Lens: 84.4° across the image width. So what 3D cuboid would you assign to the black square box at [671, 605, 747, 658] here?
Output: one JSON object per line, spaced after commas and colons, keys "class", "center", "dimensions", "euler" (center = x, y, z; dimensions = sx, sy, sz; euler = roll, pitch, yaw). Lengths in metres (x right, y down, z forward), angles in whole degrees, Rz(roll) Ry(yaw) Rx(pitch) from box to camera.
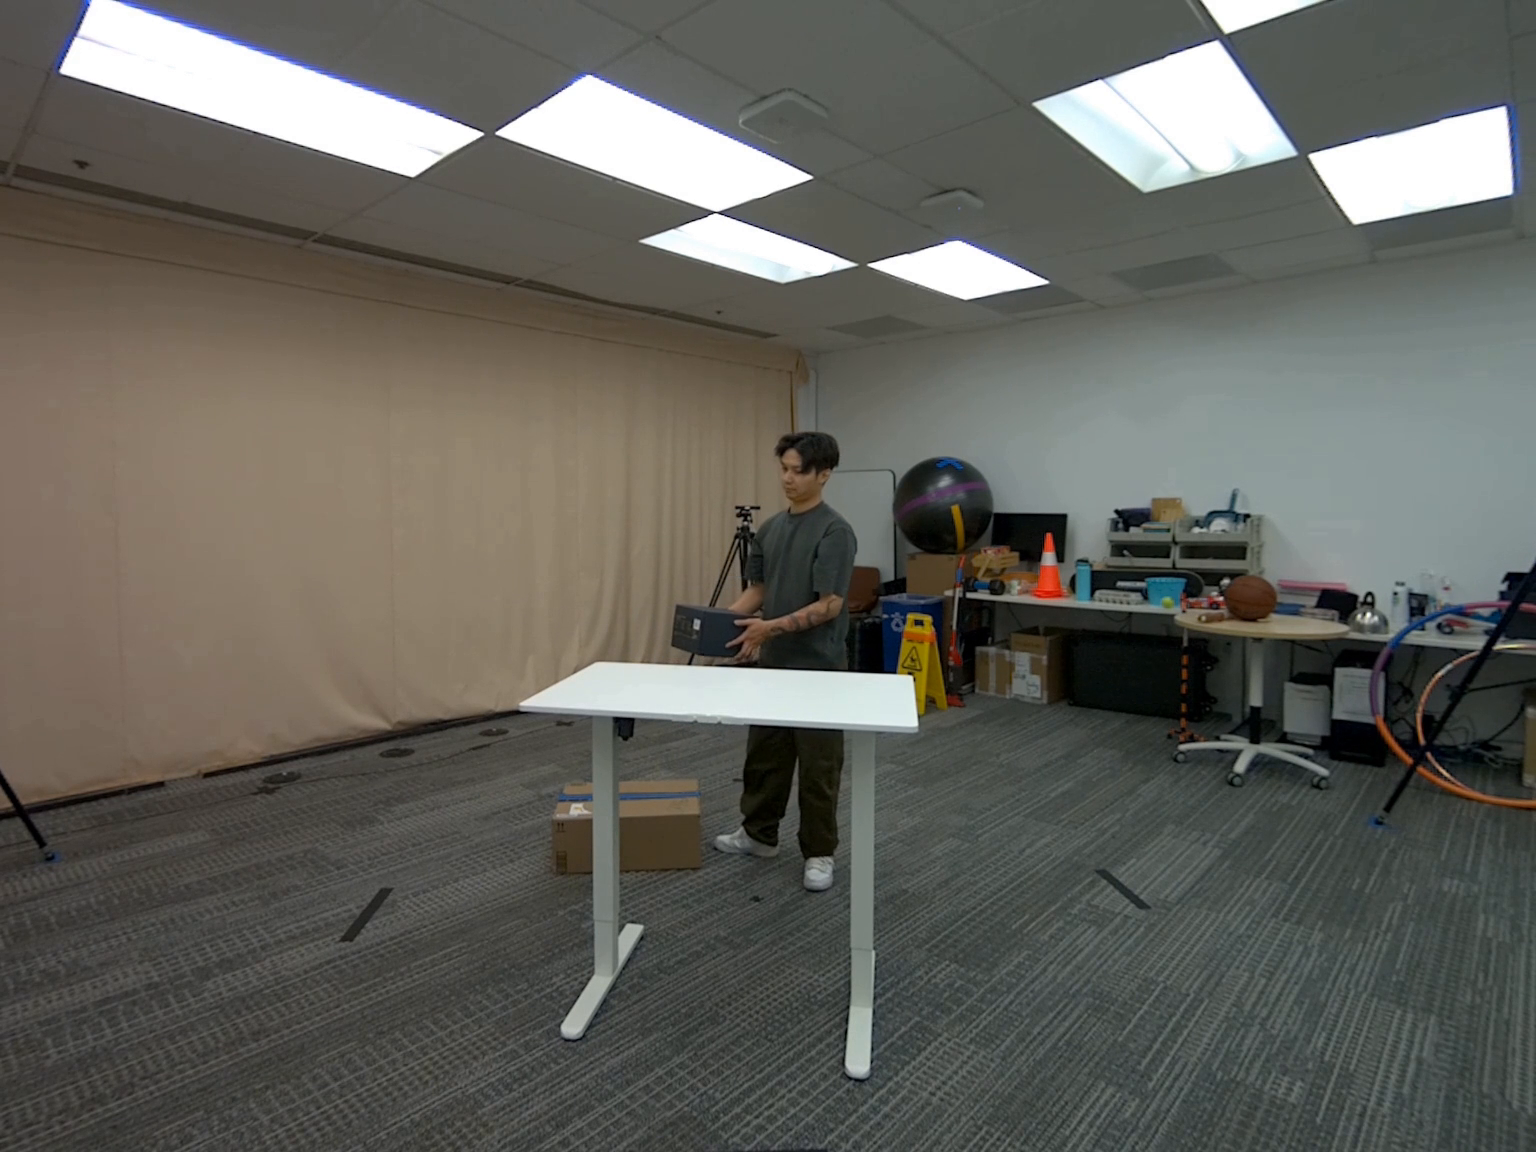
{"class": "black square box", "center": [-0.195, 0.200, 3.033], "dimensions": [0.221, 0.156, 0.223], "euler": [7, 0, -31]}
